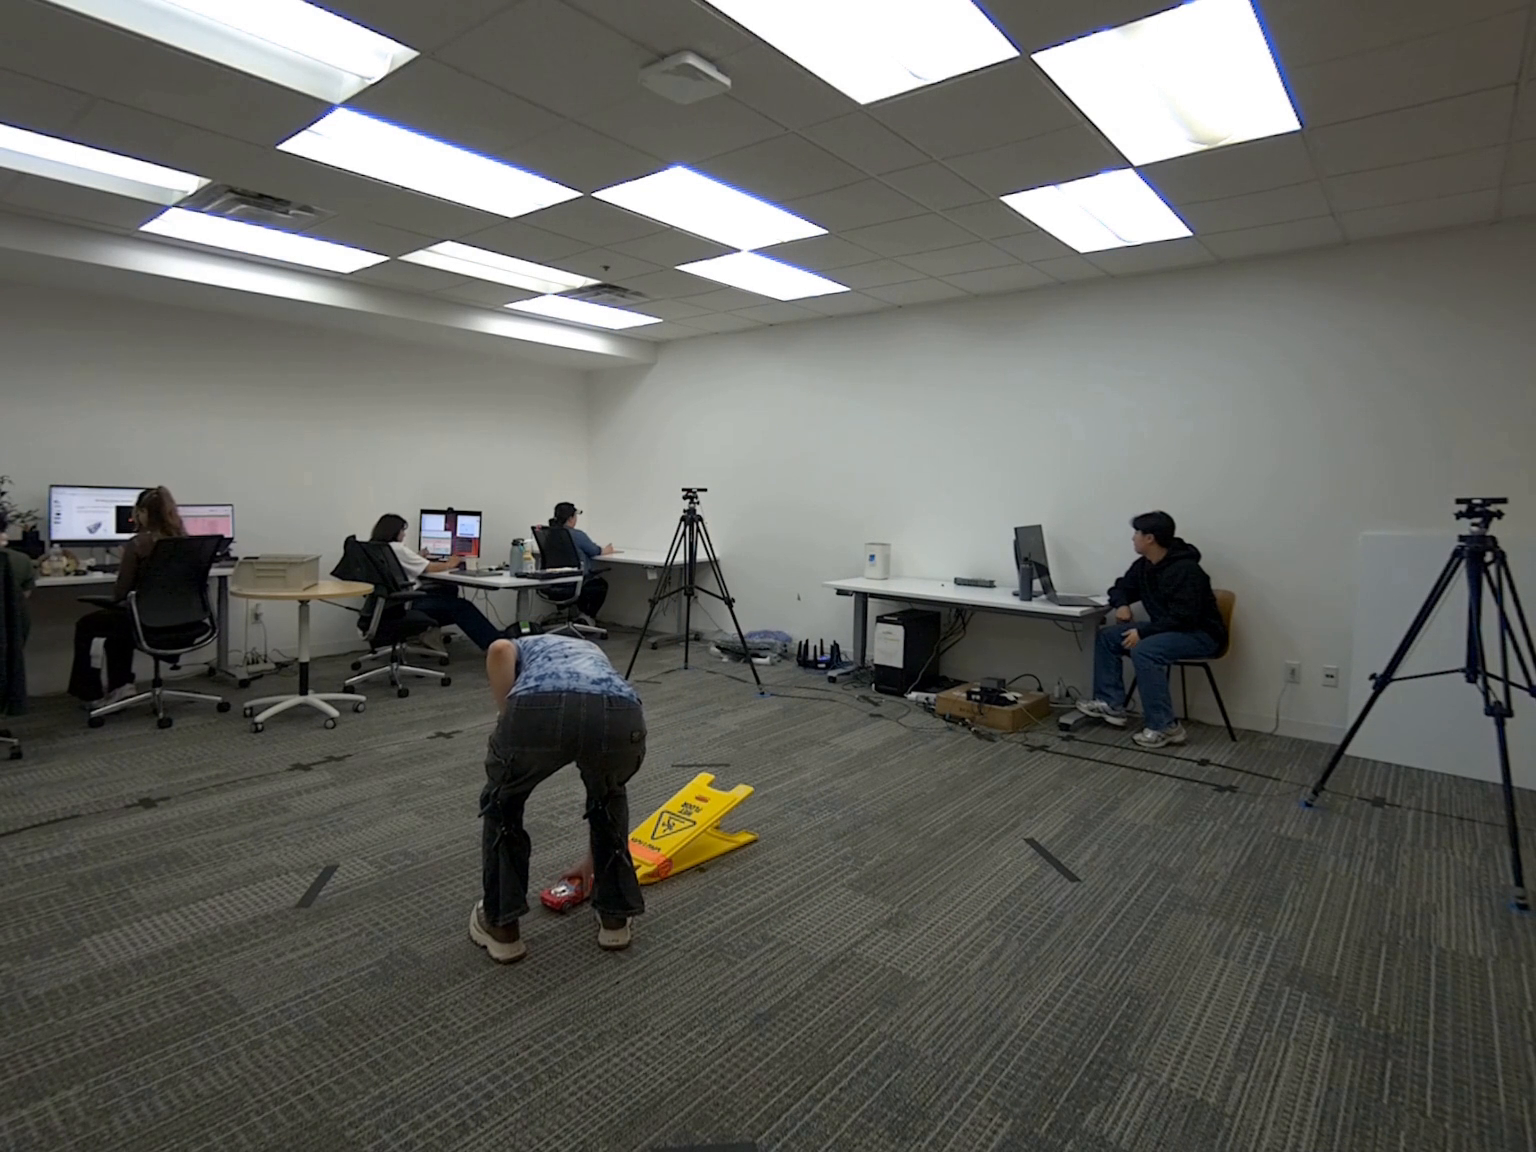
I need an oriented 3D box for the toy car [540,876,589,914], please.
[{"bbox_3d":[-0.656,1.058,2.868,0.134,0.082,0.249,3,16,37],"label":"toy car"}]
